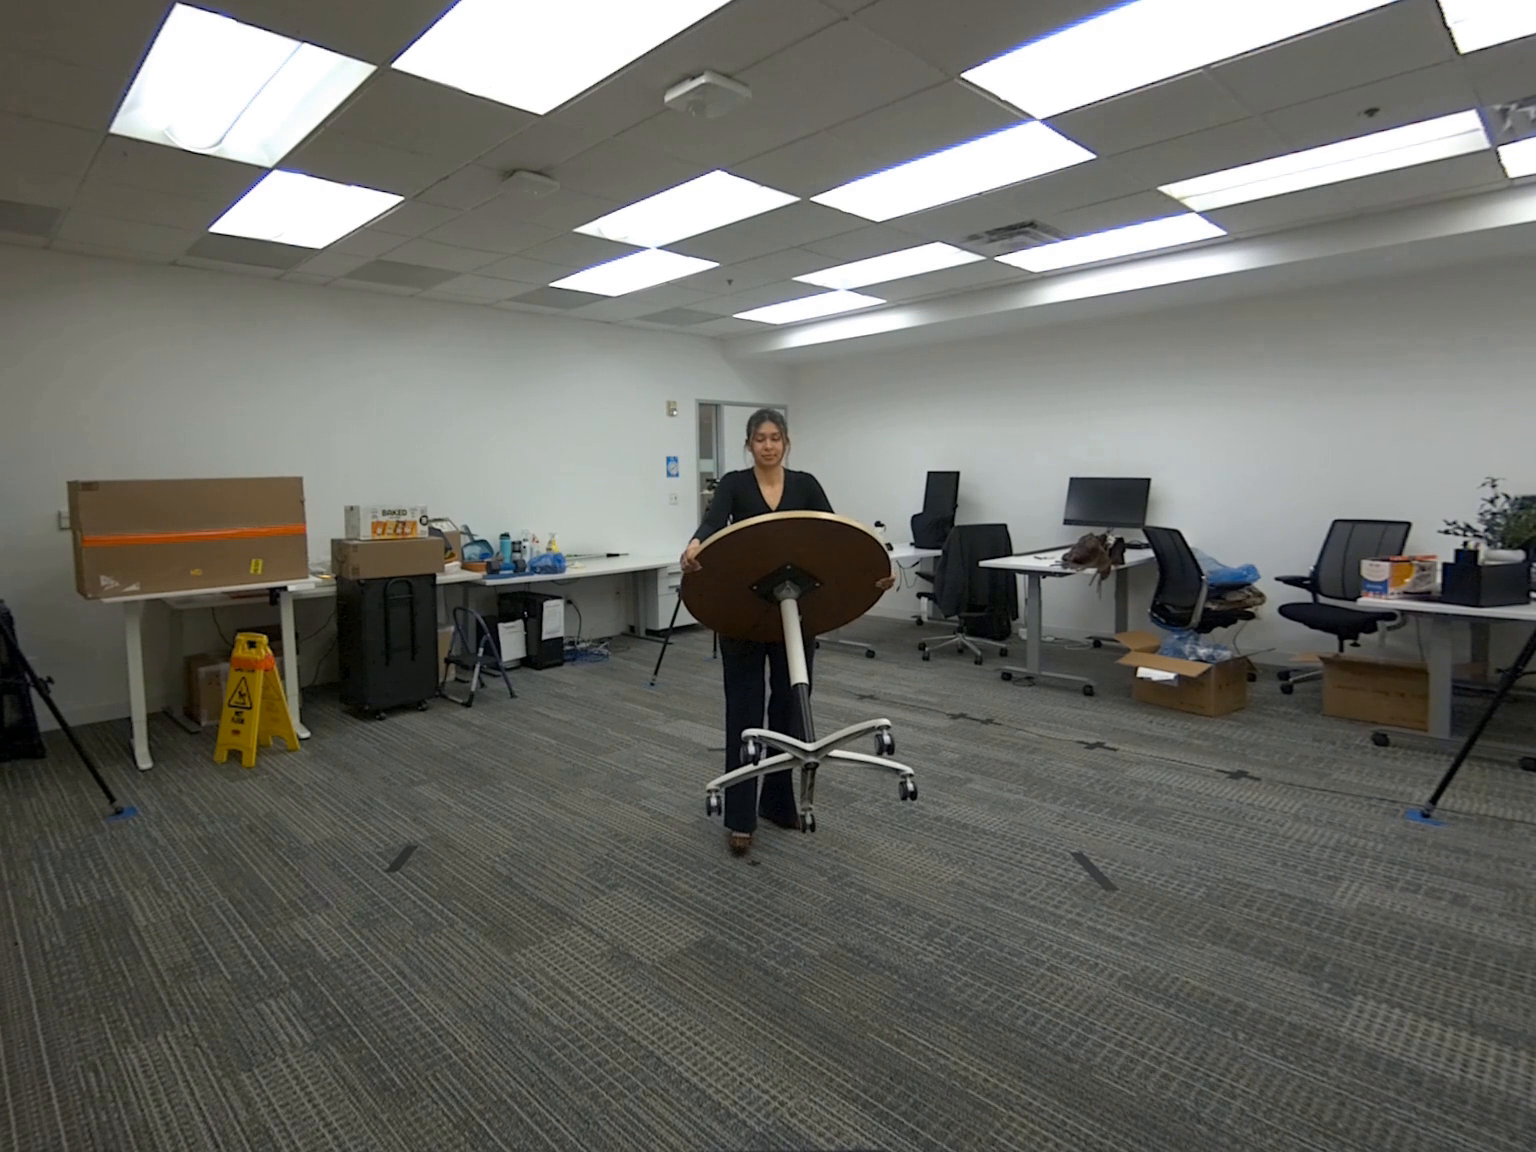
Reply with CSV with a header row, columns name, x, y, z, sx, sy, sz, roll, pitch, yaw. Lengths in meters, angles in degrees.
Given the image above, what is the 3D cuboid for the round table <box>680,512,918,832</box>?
name,x,y,z,sx,sy,sz,roll,pitch,yaw
round table,0.103,0.341,2.857,0.761,0.817,0.744,-4,-36,-4
